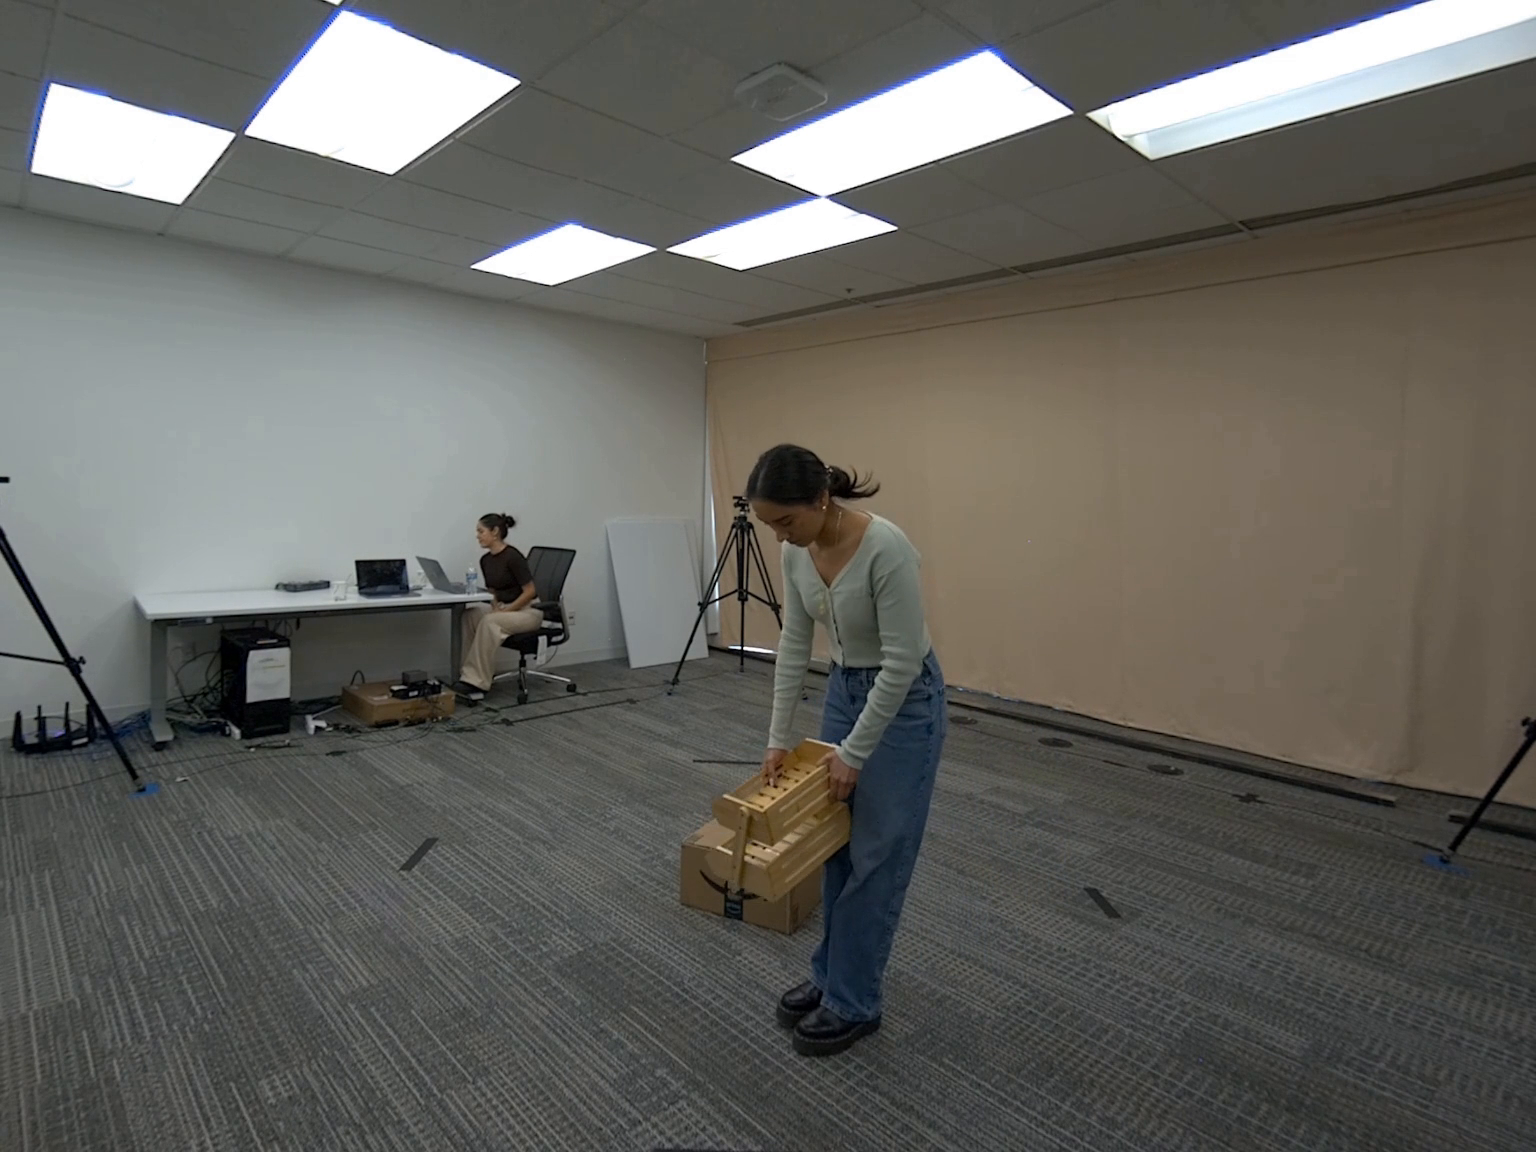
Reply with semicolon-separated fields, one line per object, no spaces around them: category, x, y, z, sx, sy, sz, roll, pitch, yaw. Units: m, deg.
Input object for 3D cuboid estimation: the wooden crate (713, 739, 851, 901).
wooden crate;0.017;0.592;2.127;0.320;0.270;0.309;-24;16;-35
